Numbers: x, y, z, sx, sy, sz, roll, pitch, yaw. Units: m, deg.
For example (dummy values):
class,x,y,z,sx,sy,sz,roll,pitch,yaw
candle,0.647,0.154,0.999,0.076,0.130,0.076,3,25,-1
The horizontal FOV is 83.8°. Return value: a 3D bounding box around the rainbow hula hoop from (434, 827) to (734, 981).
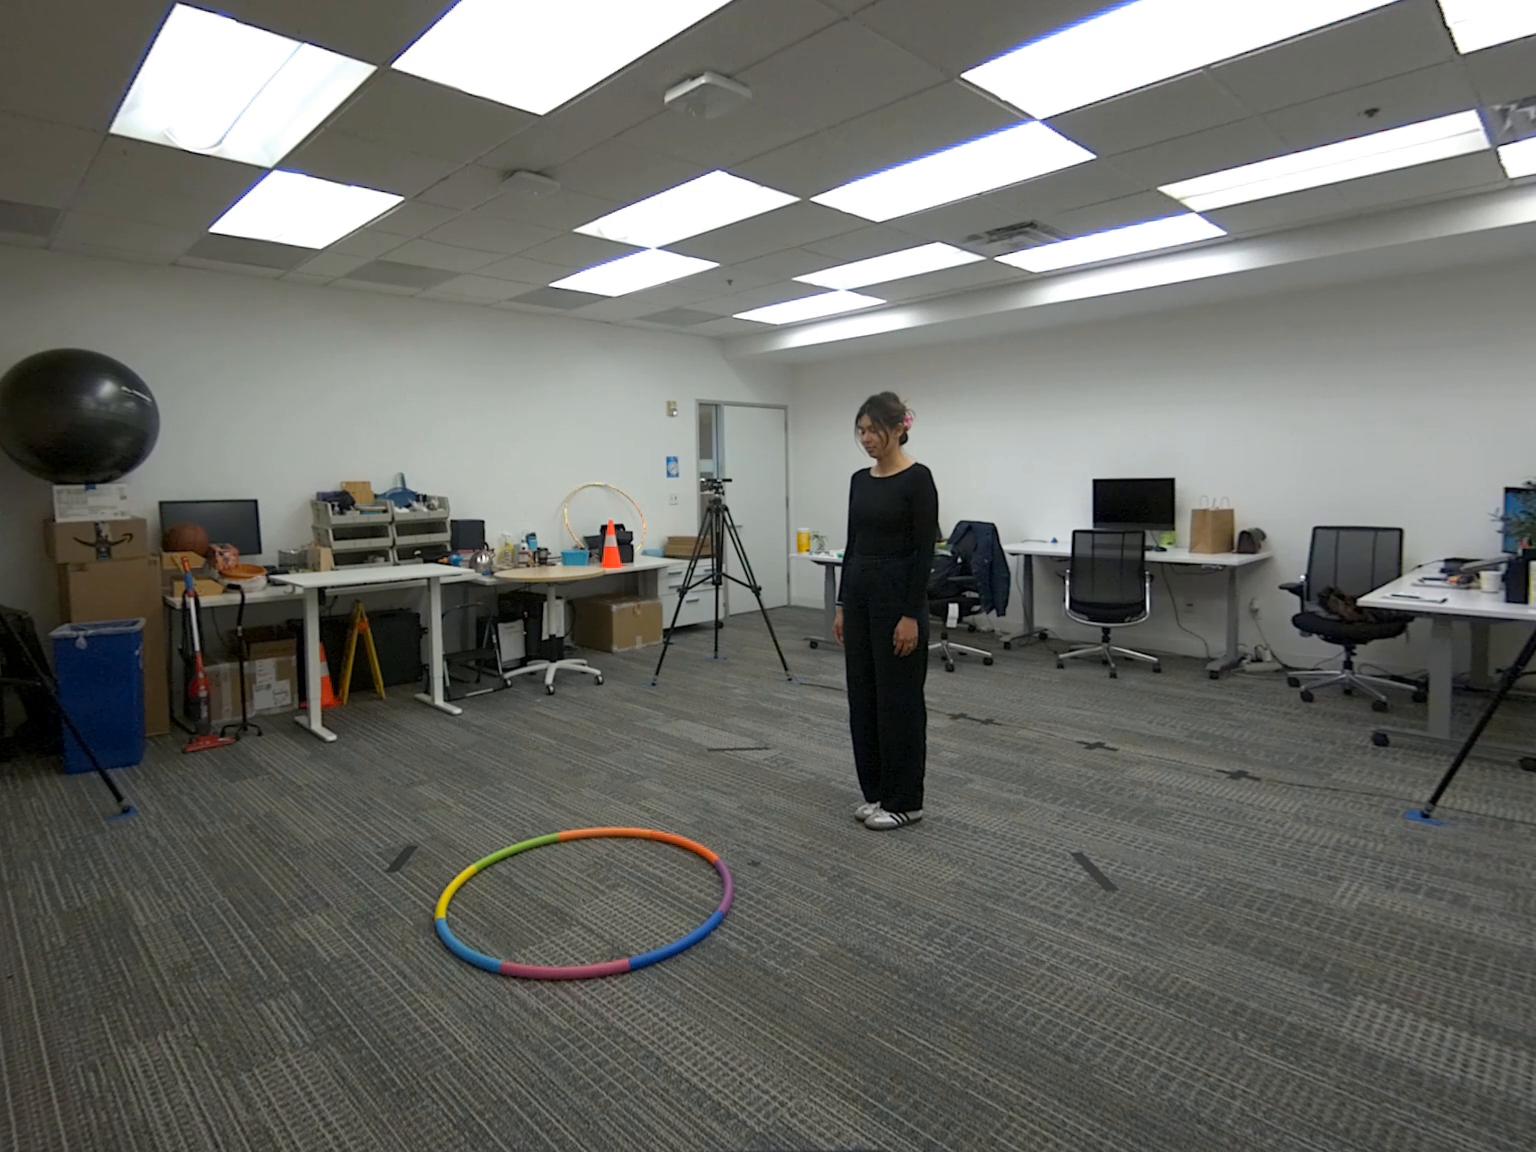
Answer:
class,x,y,z,sx,sy,sz,roll,pitch,yaw
rainbow hula hoop,-0.601,1.051,2.886,0.978,0.035,0.984,-1,7,-2
